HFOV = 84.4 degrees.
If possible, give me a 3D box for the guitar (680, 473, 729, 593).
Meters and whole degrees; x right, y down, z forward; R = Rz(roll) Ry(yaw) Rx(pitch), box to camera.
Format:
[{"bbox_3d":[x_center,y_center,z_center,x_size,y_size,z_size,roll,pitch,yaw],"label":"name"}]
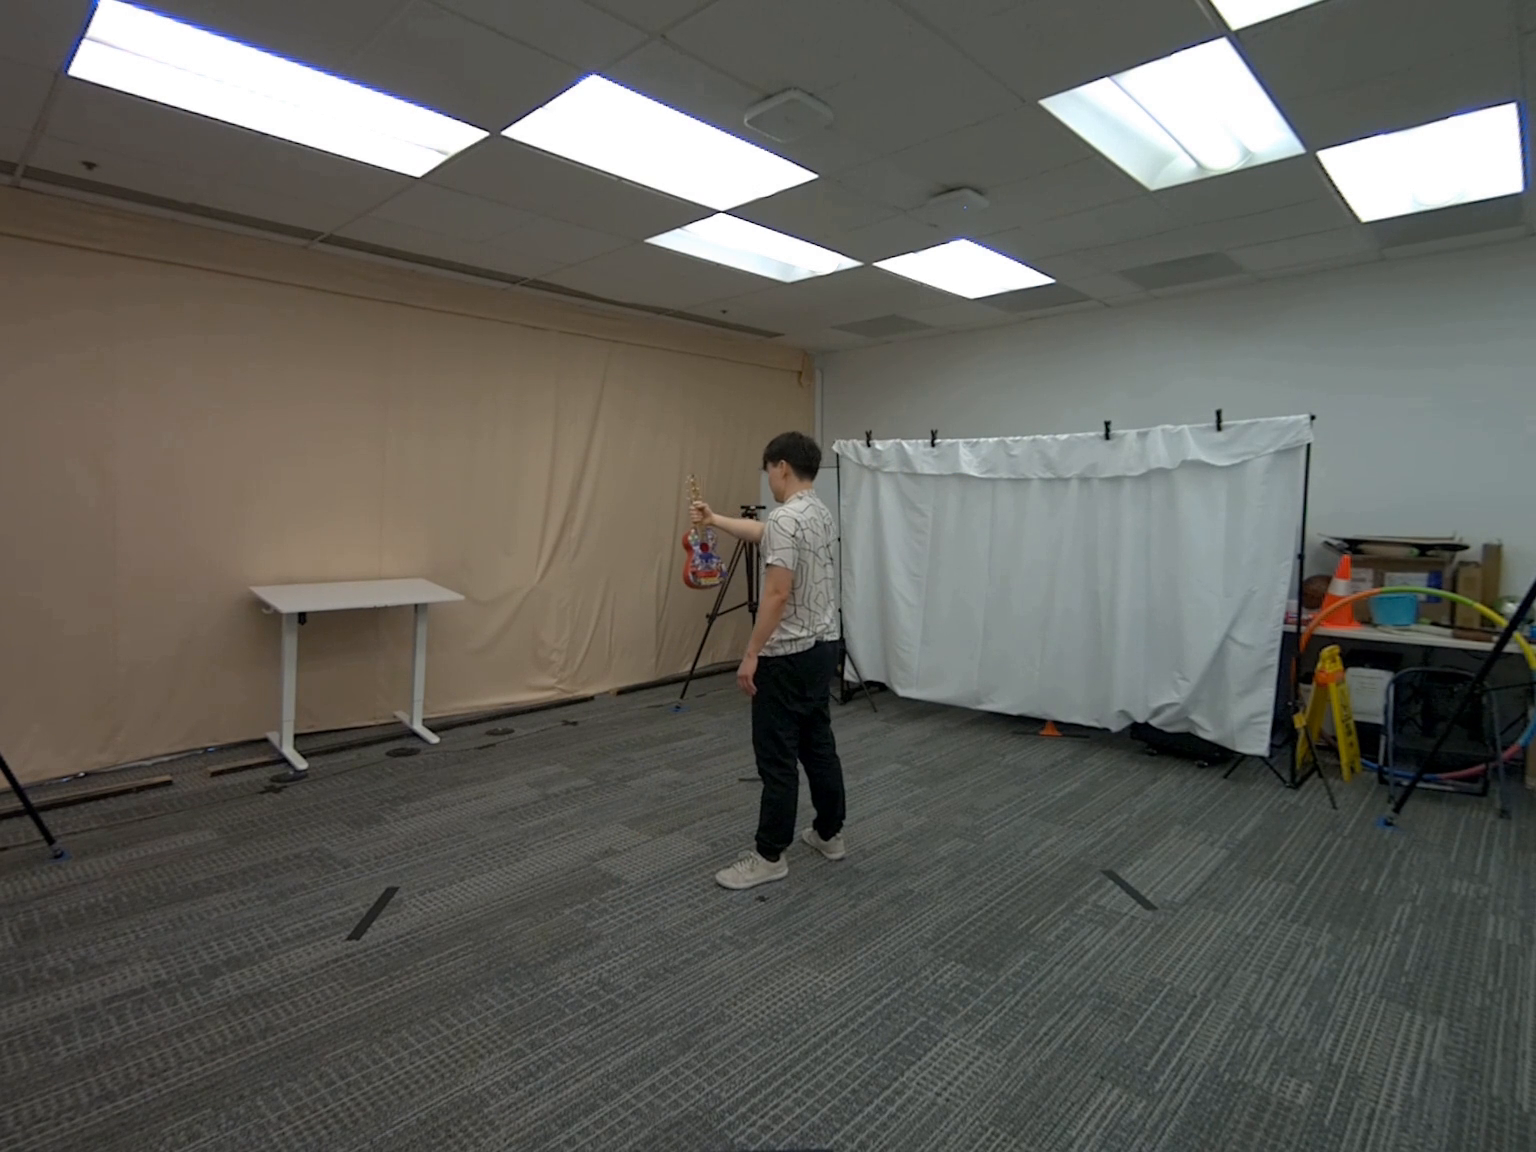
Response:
[{"bbox_3d":[-0.275,-0.189,3.683,0.188,0.502,0.072,6,-14,-26],"label":"guitar"}]
